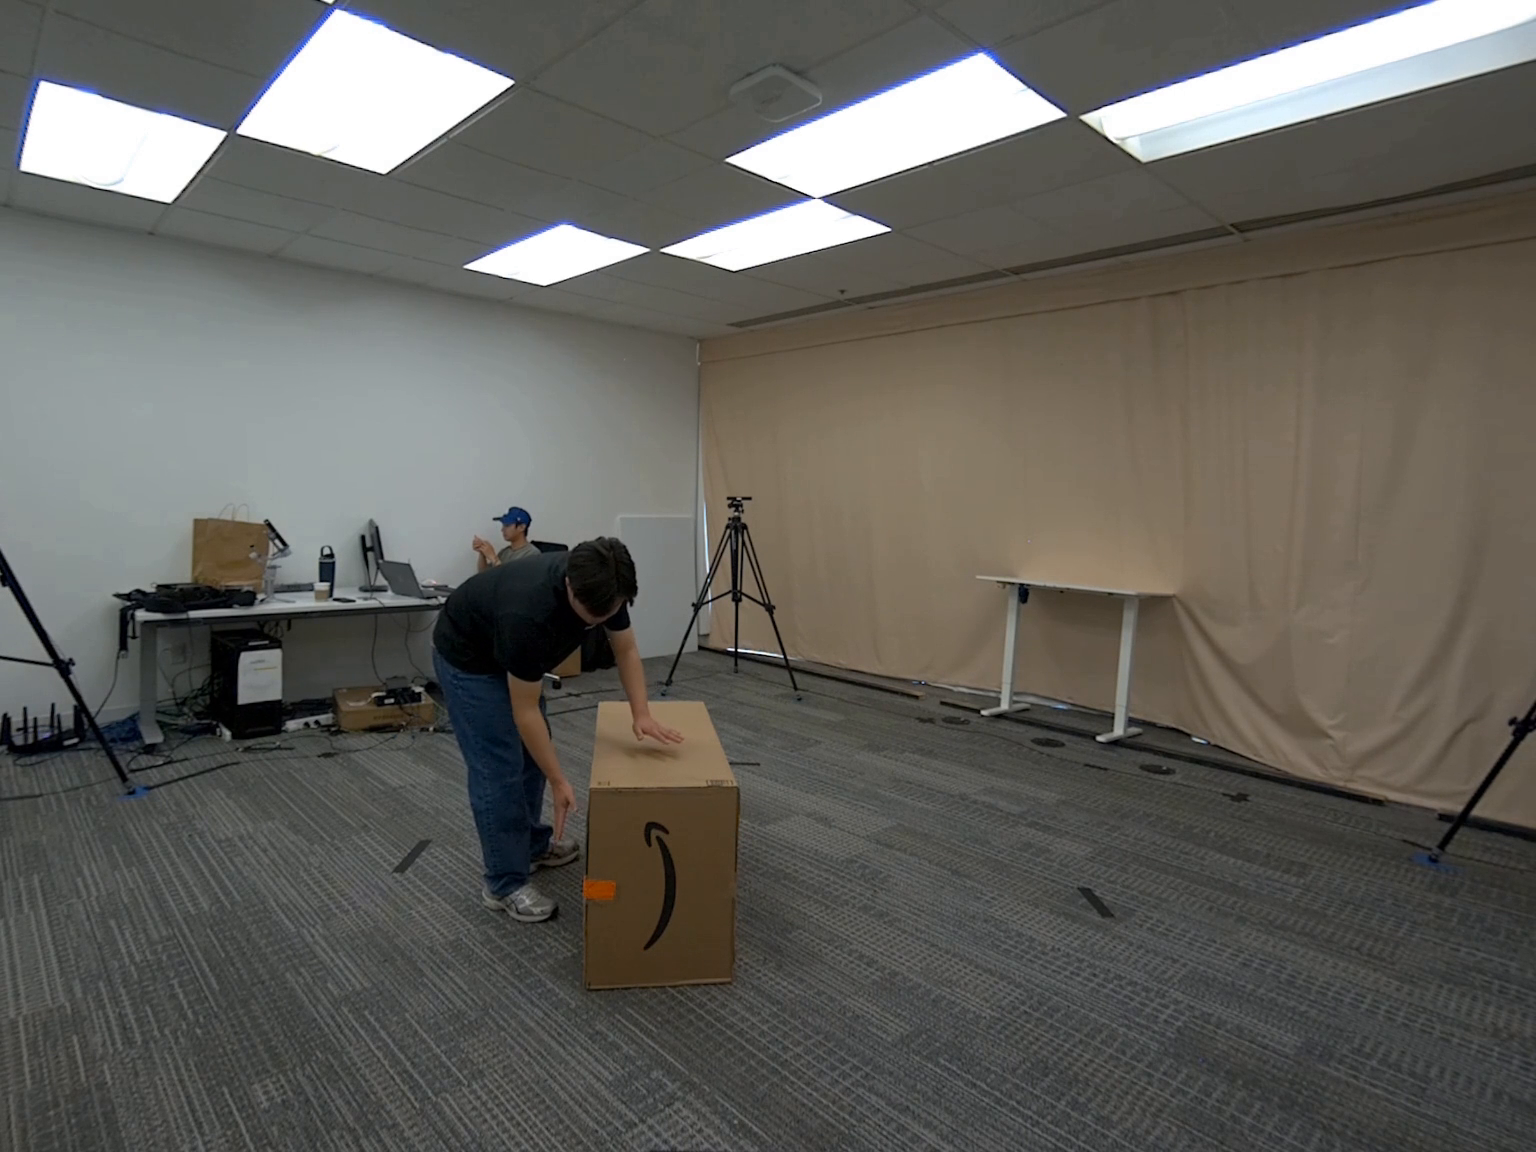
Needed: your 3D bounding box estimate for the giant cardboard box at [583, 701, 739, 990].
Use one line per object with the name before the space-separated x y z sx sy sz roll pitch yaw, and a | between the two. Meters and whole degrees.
giant cardboard box | -0.391 0.834 2.878 0.443 0.582 1.037 0 4 -10
